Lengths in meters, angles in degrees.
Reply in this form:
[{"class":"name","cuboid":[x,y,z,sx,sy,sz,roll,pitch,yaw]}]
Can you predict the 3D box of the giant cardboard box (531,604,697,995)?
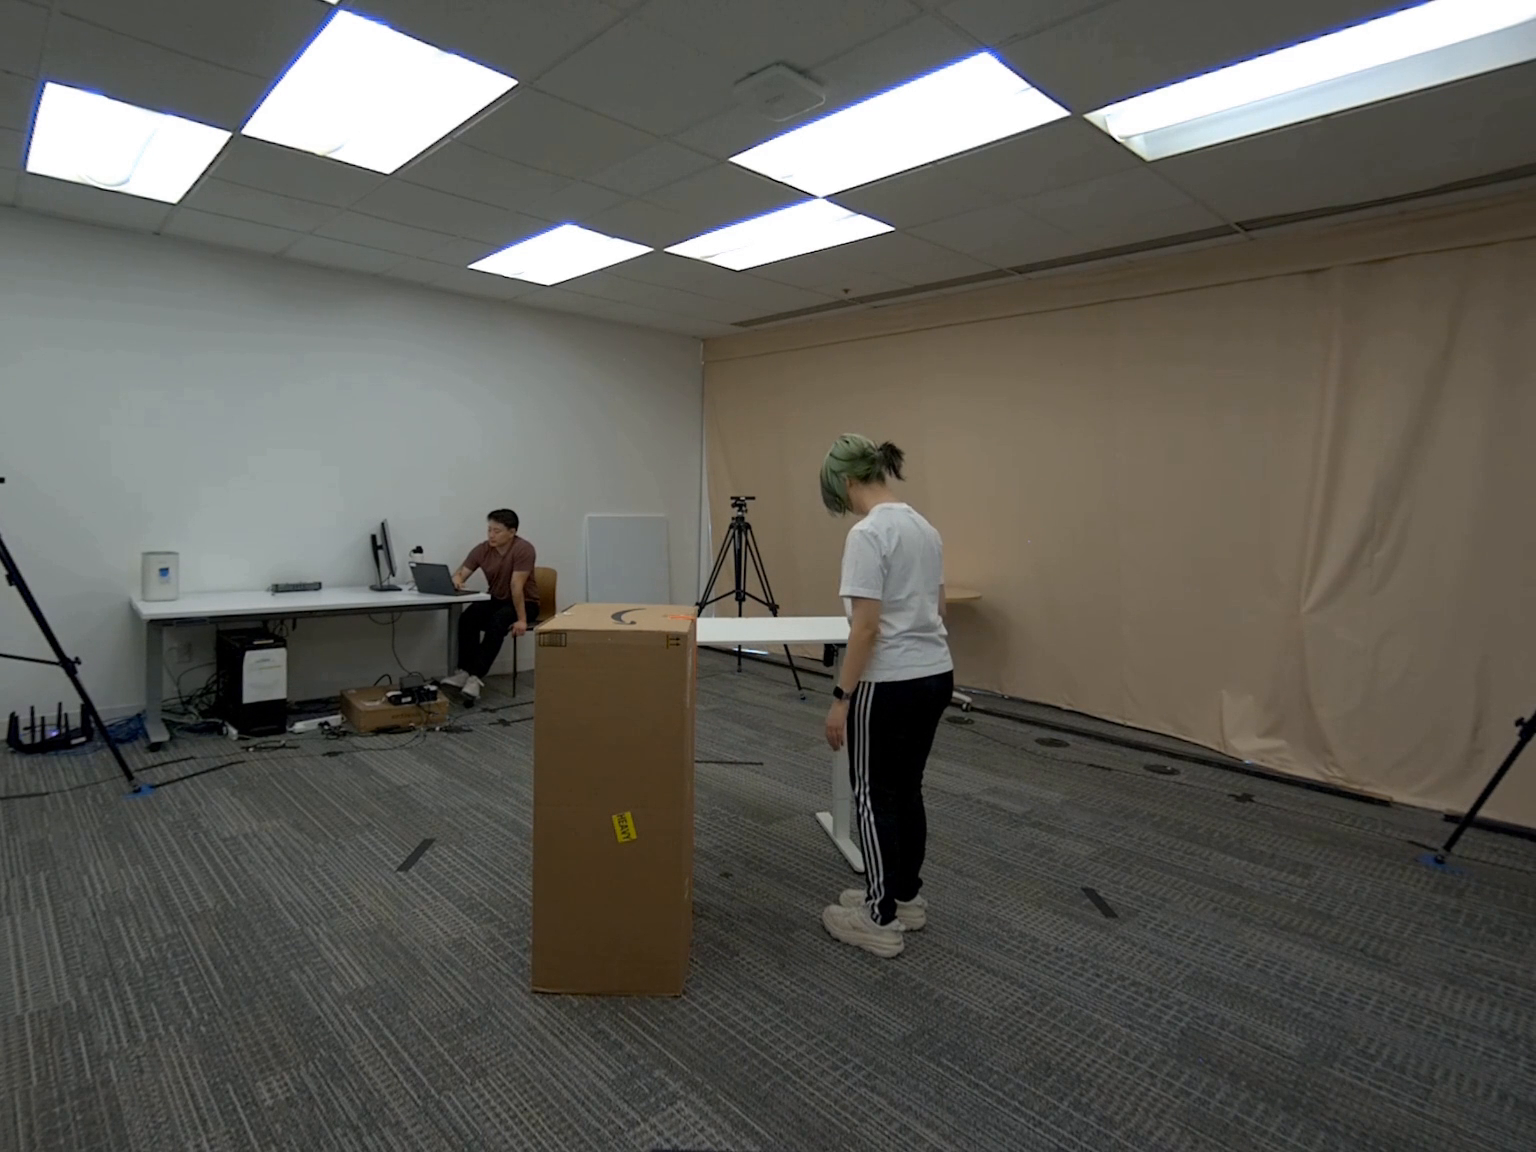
[{"class":"giant cardboard box","cuboid":[-0.455,0.638,2.599,0.446,1.025,0.585,1,3,-2]}]
